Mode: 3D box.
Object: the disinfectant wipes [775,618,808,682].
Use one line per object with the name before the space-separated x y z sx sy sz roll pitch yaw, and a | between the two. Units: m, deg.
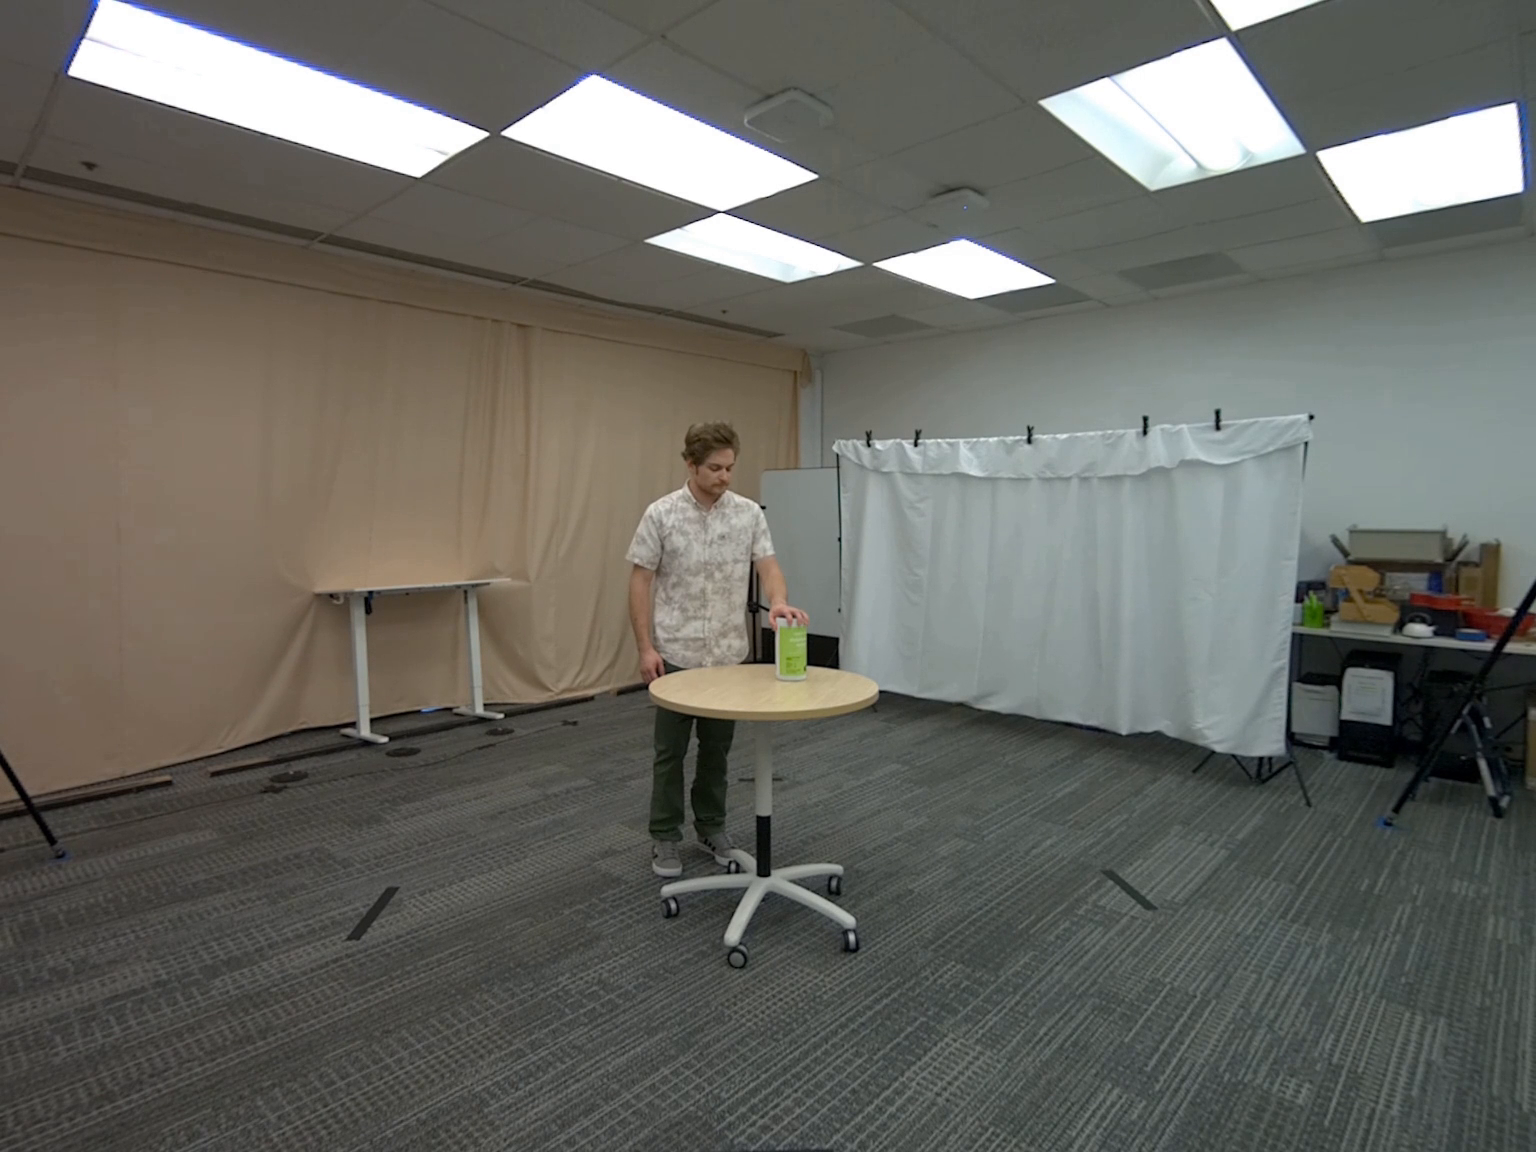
disinfectant wipes | 0.084 0.252 2.926 0.118 0.217 0.118 2 2 -2
